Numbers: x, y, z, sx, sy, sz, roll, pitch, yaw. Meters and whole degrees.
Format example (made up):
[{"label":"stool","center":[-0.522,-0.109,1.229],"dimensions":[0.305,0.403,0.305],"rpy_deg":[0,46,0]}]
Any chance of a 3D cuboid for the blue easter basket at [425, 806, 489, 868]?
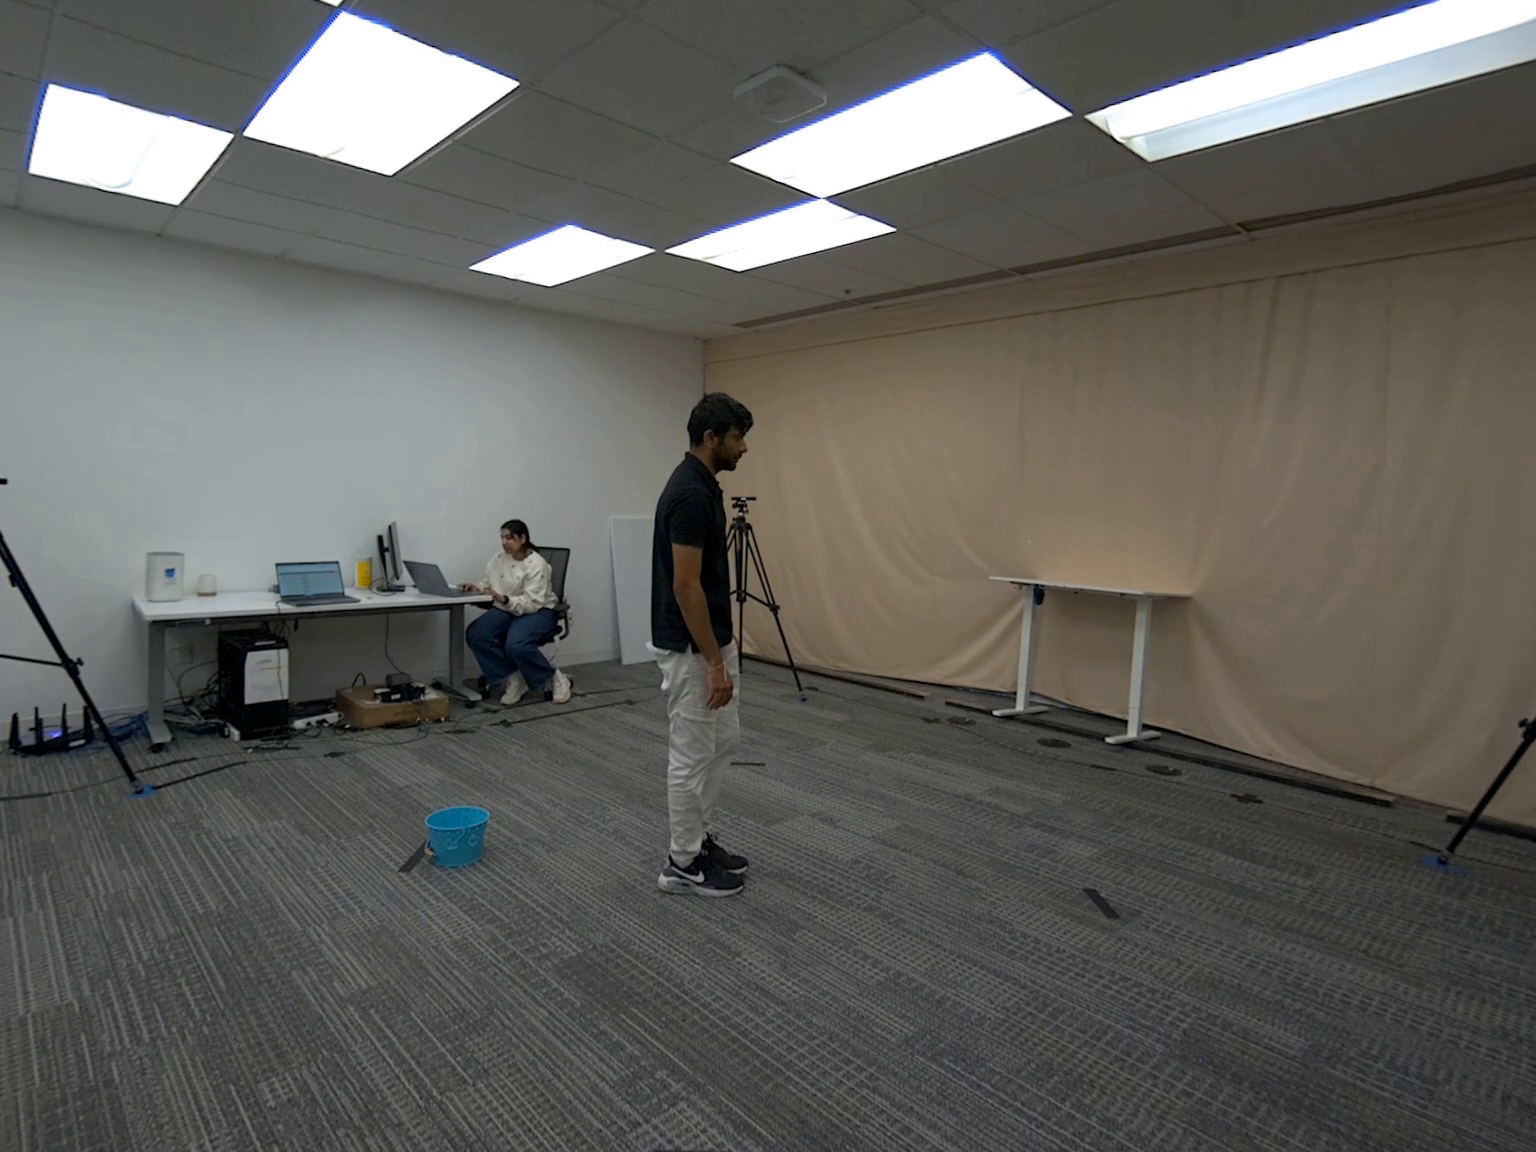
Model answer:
[{"label":"blue easter basket","center":[-1.186,0.989,3.220],"dimensions":[0.243,0.155,0.244],"rpy_deg":[2,6,-2]}]
